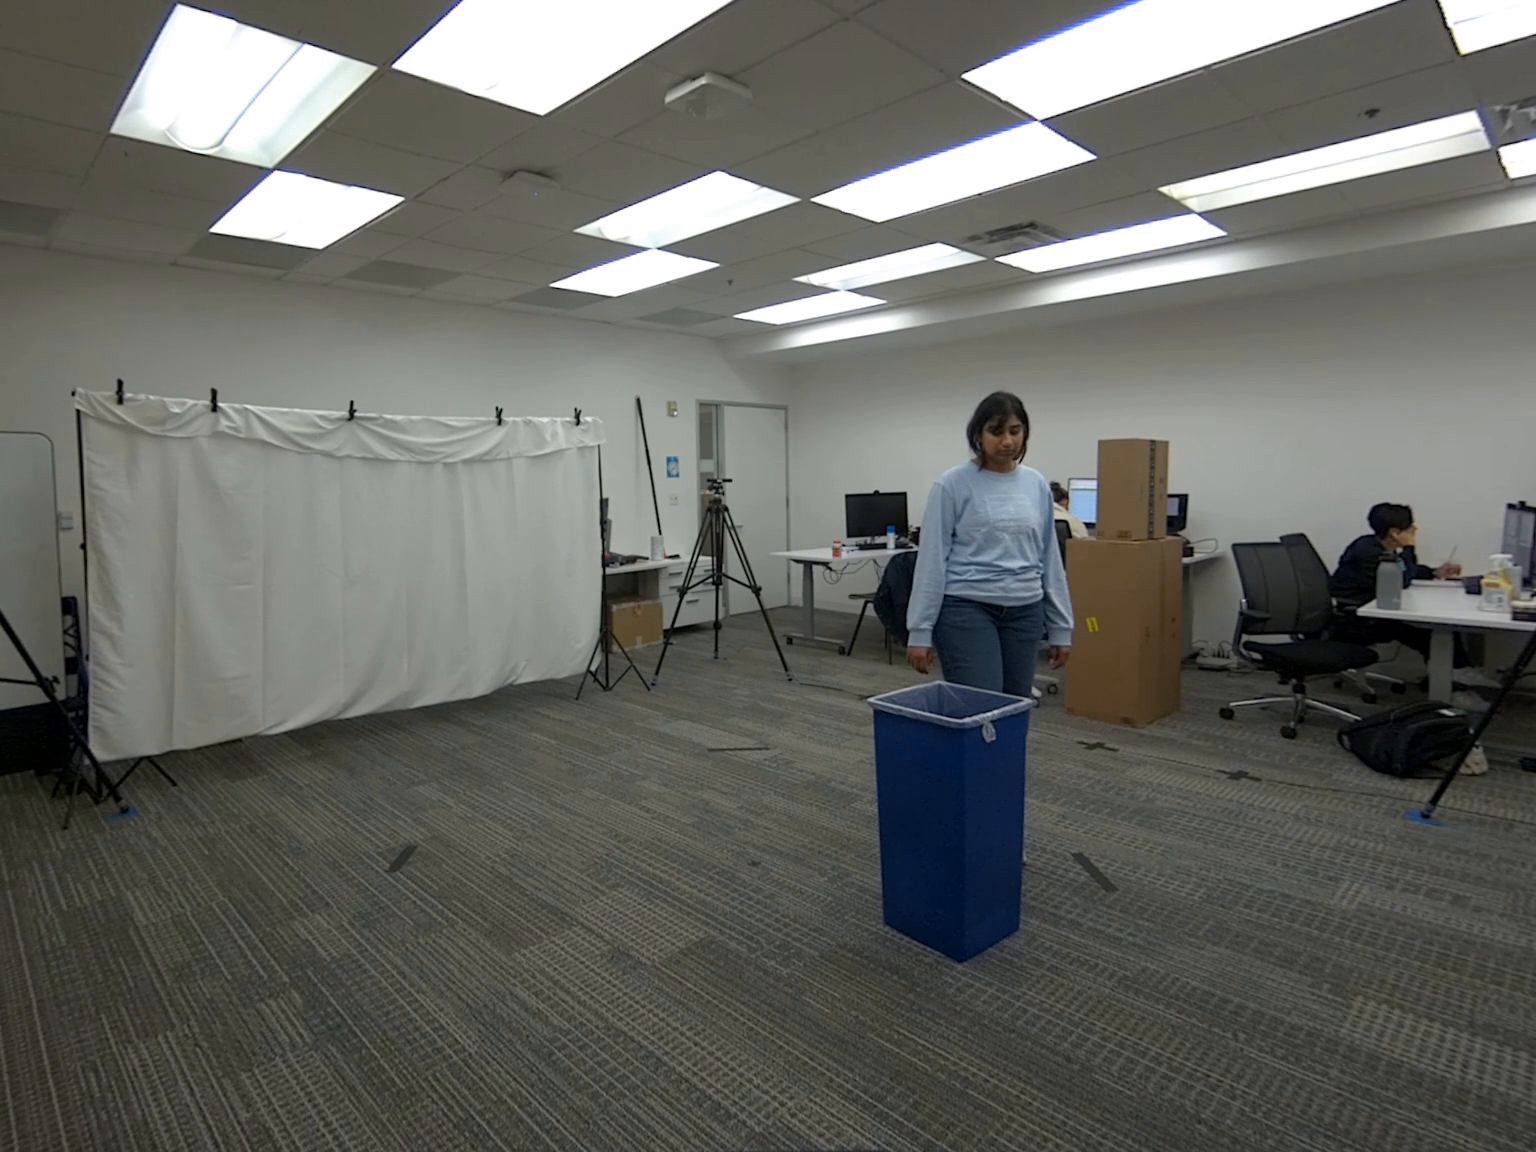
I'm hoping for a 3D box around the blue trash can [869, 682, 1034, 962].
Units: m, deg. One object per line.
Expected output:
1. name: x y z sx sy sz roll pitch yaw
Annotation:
1. blue trash can: 0.568 0.733 2.640 0.364 0.711 0.389 -4 5 -41
